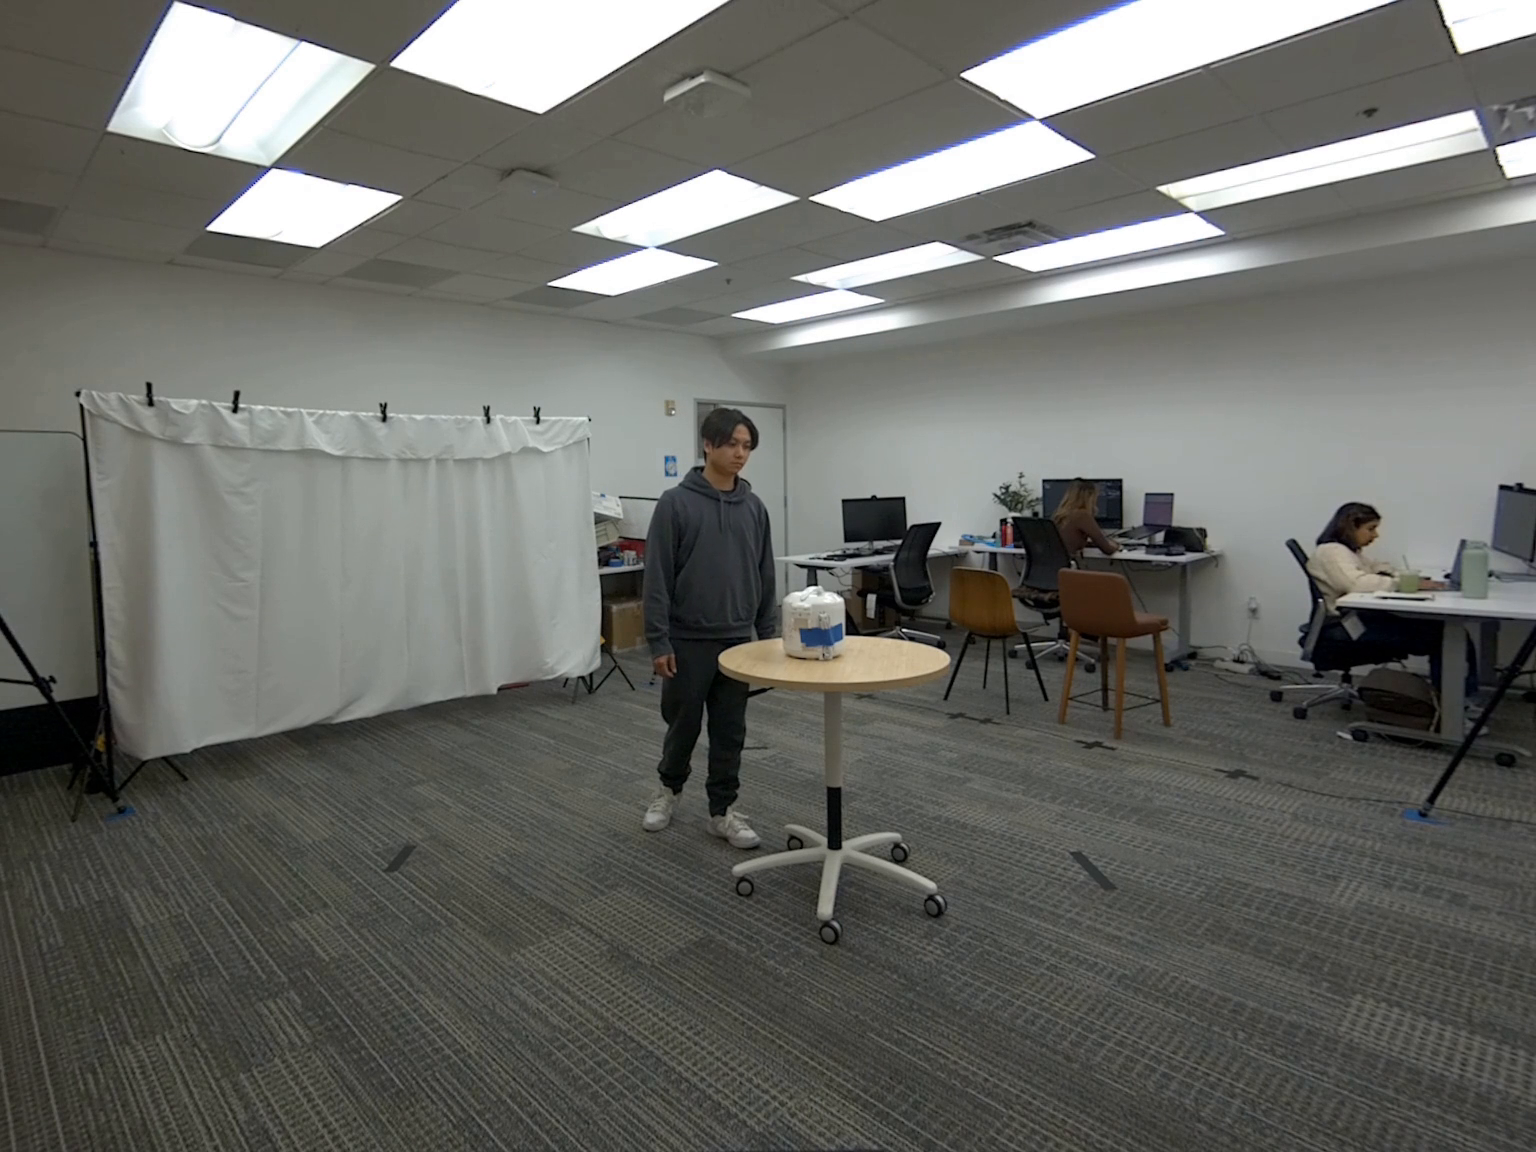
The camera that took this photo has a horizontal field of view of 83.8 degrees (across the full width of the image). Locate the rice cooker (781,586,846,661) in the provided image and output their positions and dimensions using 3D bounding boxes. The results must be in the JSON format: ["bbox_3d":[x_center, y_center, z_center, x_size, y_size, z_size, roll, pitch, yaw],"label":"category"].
[{"bbox_3d":[0.156,0.153,2.875,0.223,0.232,0.216,2,6,28],"label":"rice cooker"}]
